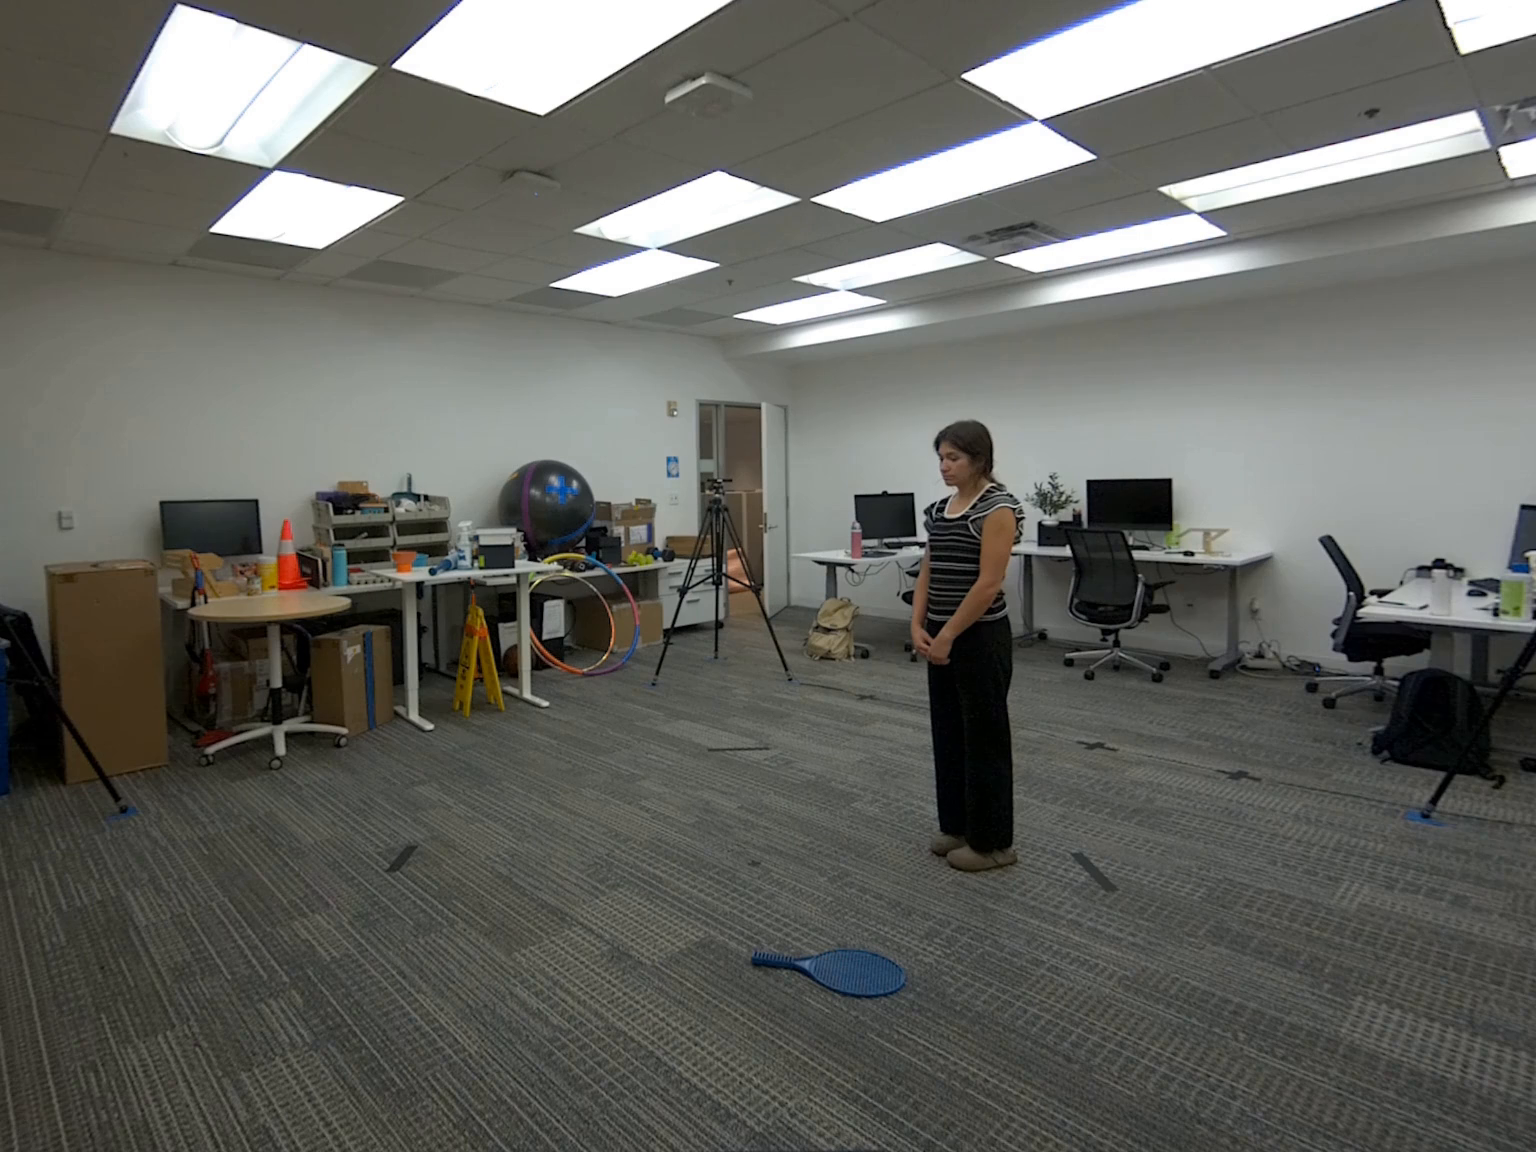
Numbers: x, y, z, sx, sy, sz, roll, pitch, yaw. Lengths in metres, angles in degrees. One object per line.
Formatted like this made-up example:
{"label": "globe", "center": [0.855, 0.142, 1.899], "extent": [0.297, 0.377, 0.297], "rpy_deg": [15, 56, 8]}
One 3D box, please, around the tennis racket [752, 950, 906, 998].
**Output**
{"label": "tennis racket", "center": [0.171, 1.108, 2.420], "extent": [0.437, 0.031, 0.212], "rpy_deg": [1, 7, 10]}
